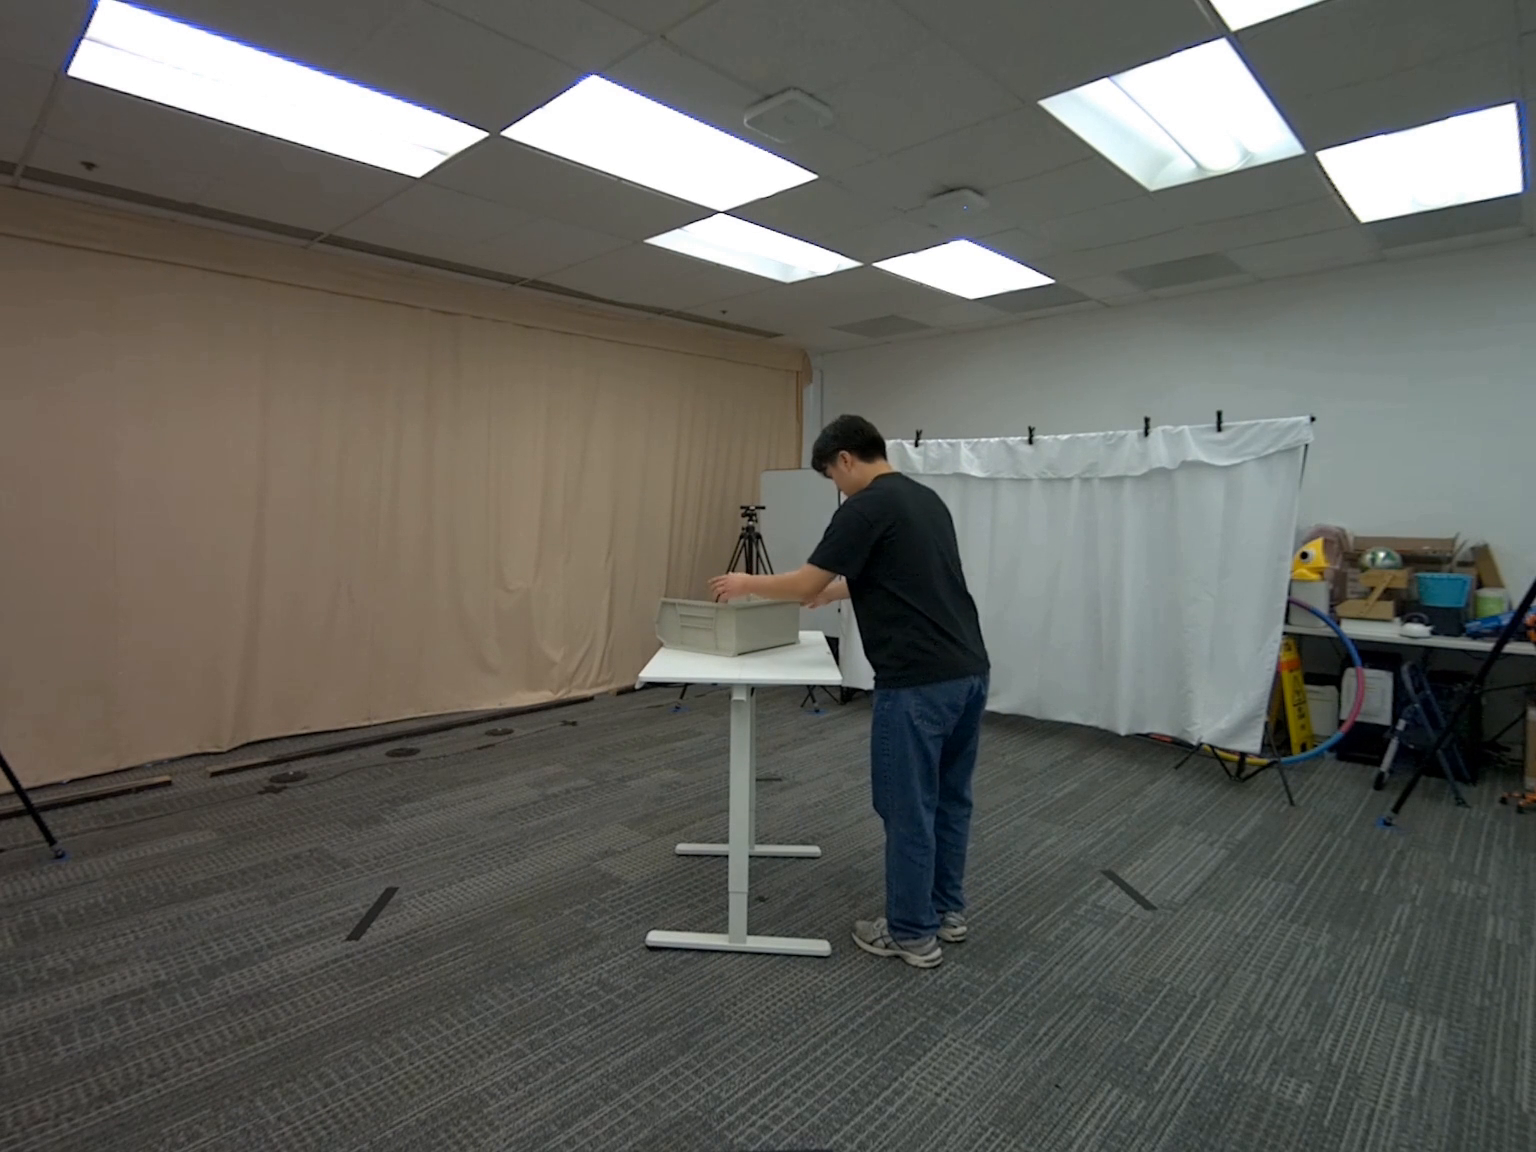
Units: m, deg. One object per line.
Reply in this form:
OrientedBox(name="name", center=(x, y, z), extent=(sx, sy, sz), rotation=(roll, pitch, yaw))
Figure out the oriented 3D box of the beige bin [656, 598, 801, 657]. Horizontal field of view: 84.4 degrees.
OrientedBox(name="beige bin", center=(-0.140, 0.166, 3.089), extent=(0.390, 0.188, 0.410), rotation=(5, 6, 38))
